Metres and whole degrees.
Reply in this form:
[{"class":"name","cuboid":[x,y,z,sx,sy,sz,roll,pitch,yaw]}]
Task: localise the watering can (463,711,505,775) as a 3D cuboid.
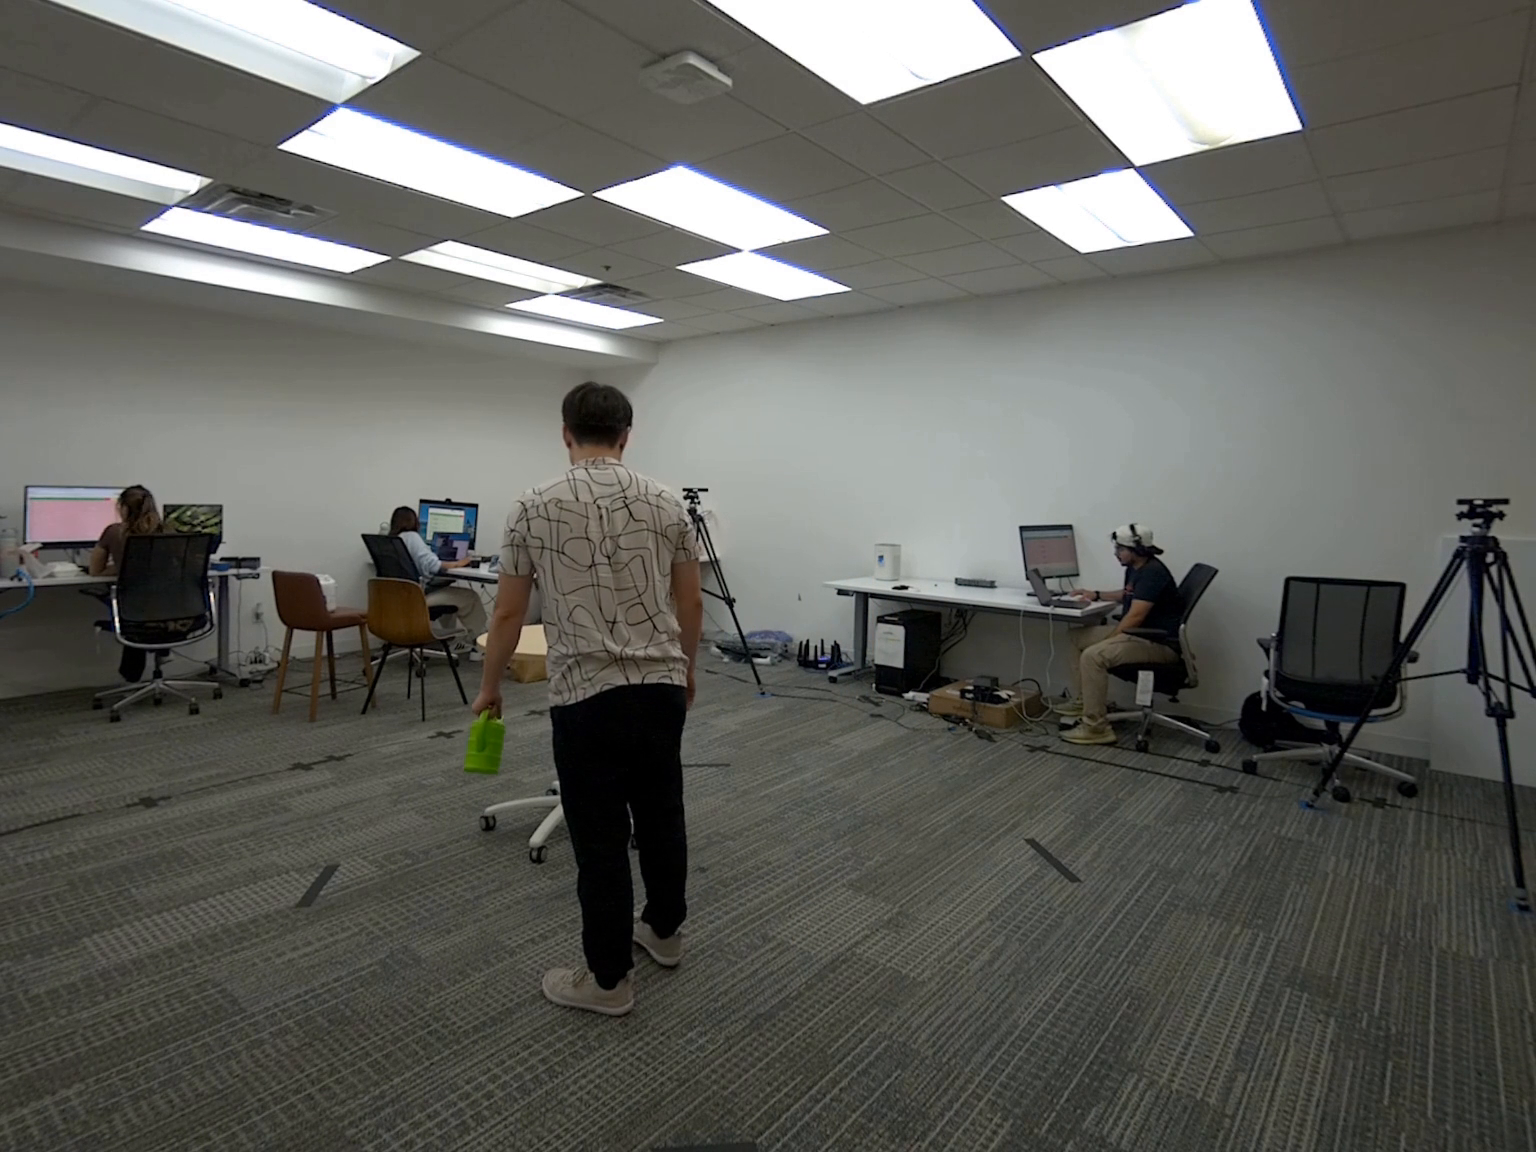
[{"class":"watering can","cuboid":[-0.771,0.459,2.387,0.099,0.180,0.271,5,-22,4]}]
